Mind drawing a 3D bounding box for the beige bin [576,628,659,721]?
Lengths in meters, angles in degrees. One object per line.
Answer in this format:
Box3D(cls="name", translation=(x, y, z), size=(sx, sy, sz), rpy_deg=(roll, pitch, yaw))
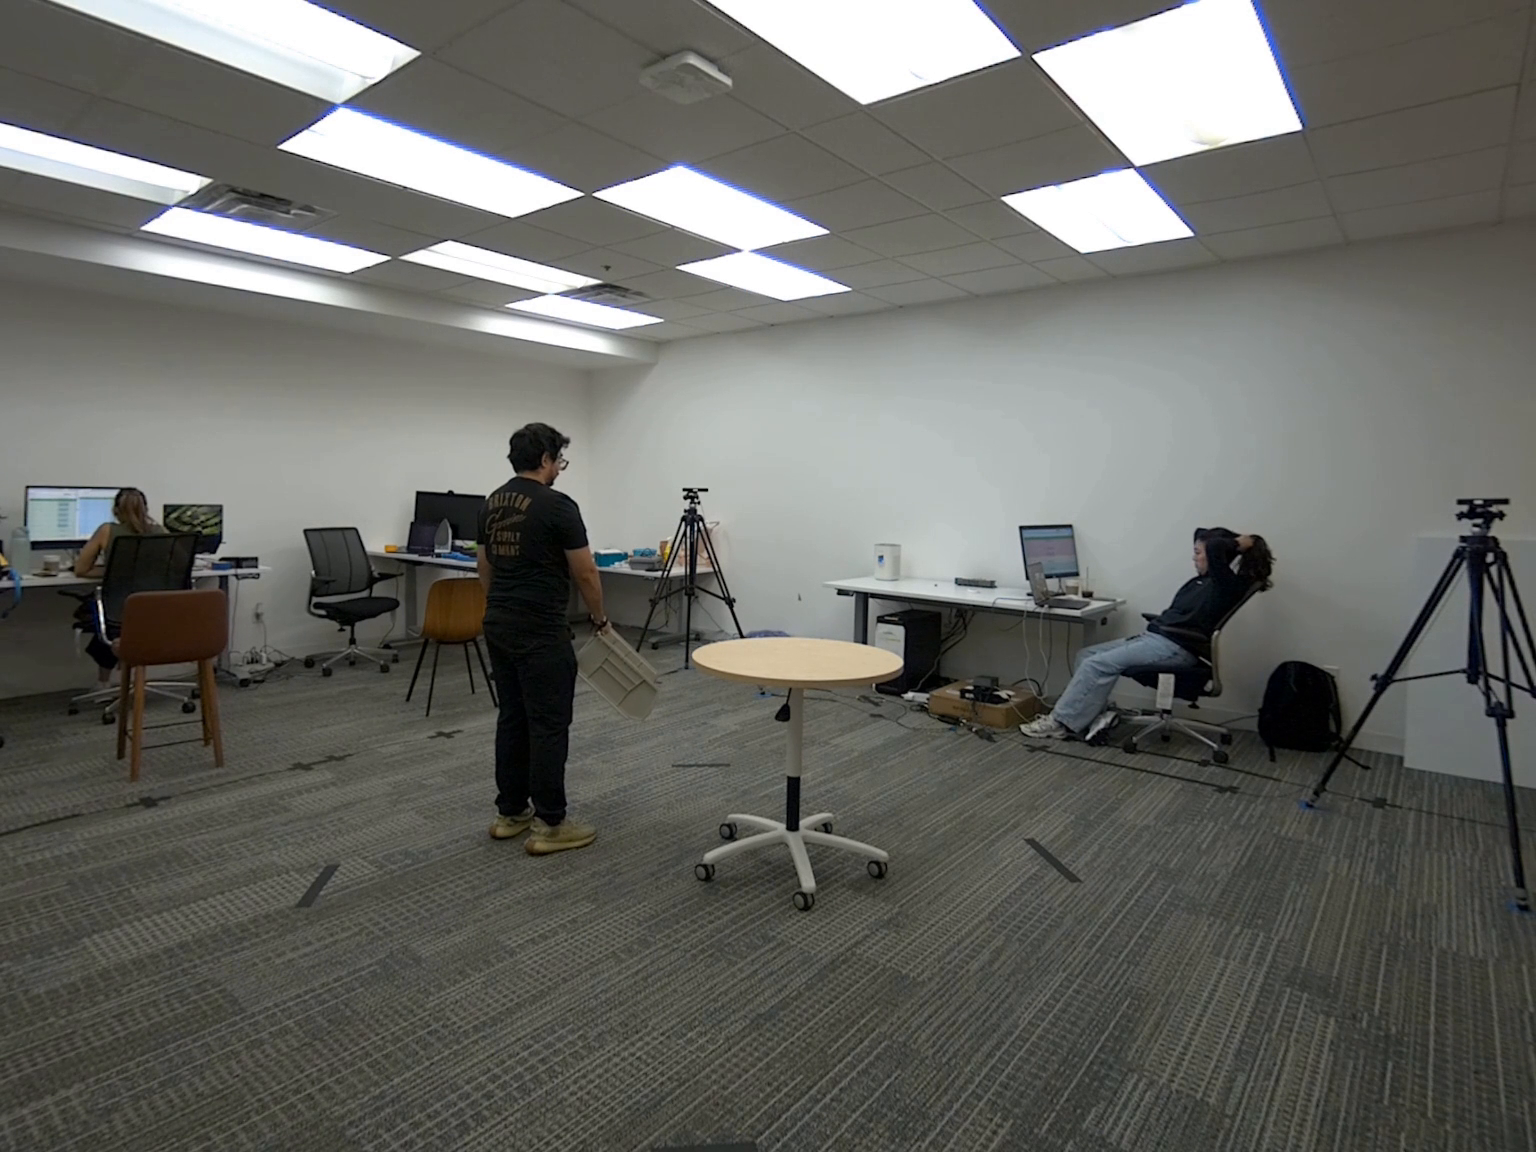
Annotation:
Box3D(cls="beige bin", translation=(-0.659, 0.405, 3.627), size=(0.374, 0.189, 0.426), rpy_deg=(43, -1, -7))
